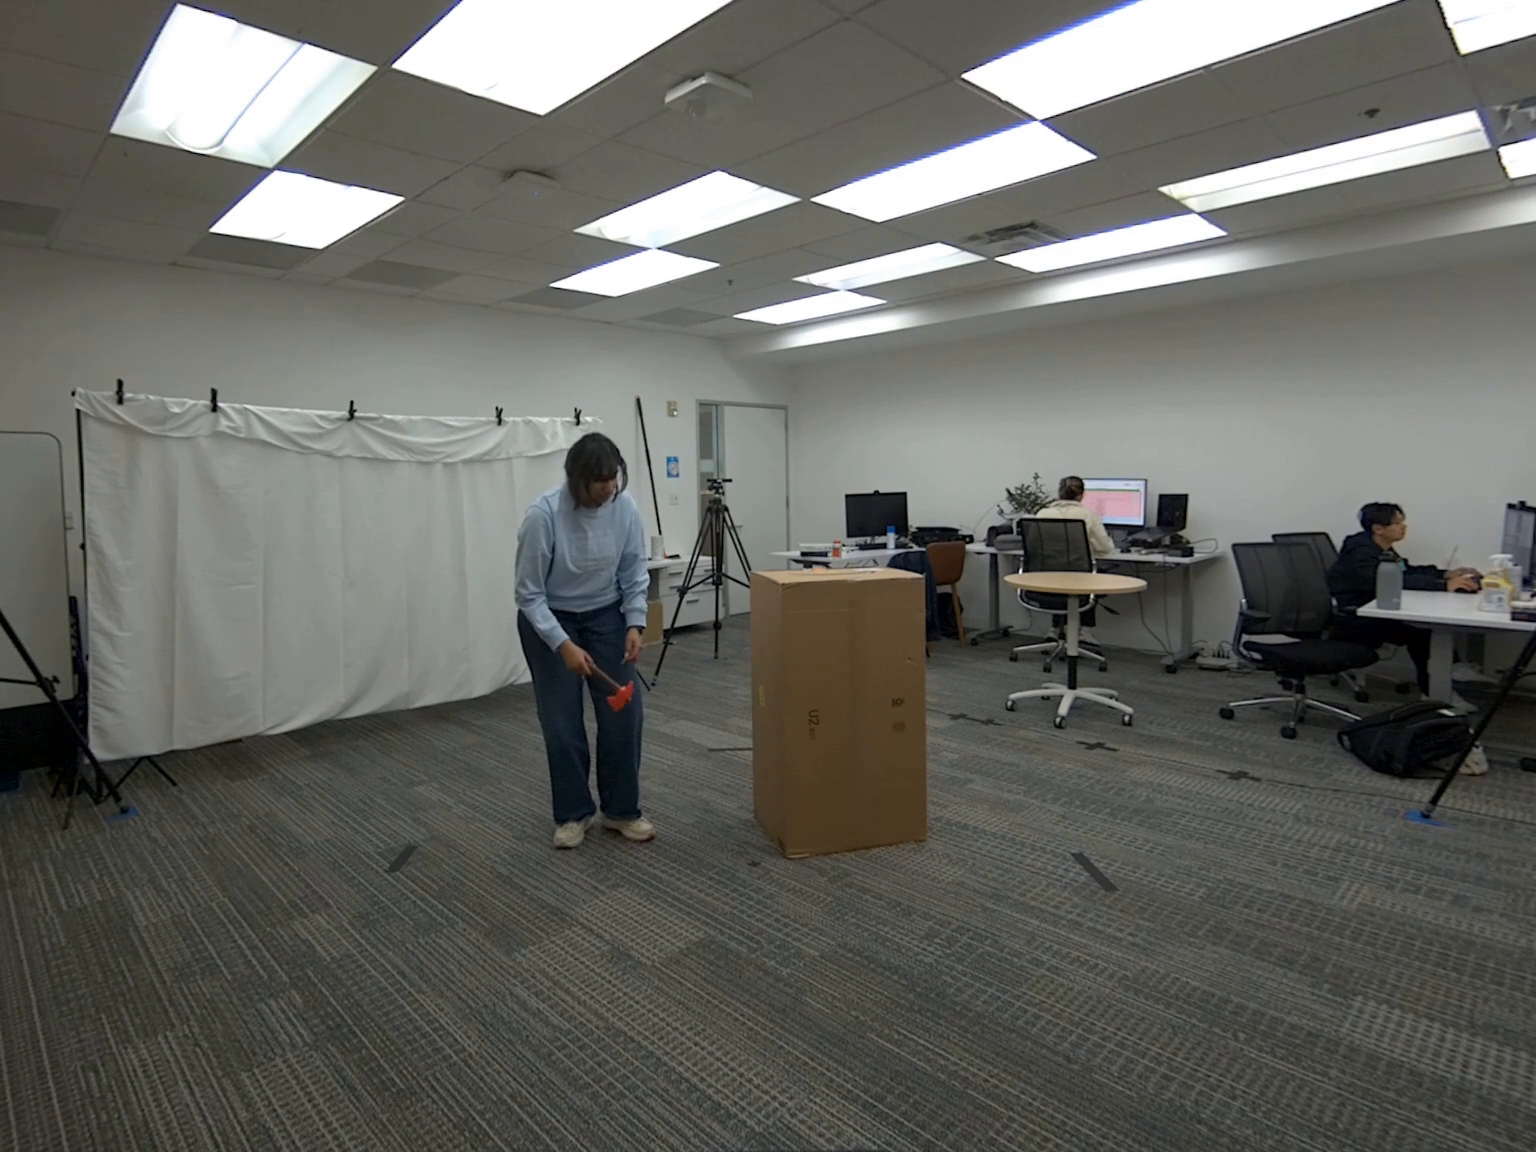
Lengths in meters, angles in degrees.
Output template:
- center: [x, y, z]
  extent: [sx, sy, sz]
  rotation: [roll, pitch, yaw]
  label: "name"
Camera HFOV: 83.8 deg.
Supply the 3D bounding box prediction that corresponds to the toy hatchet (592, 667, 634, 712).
- center: [-0.604, 0.400, 3.053]
  extent: [0.277, 0.130, 0.029]
  rotation: [16, 13, 24]
  label: "toy hatchet"
